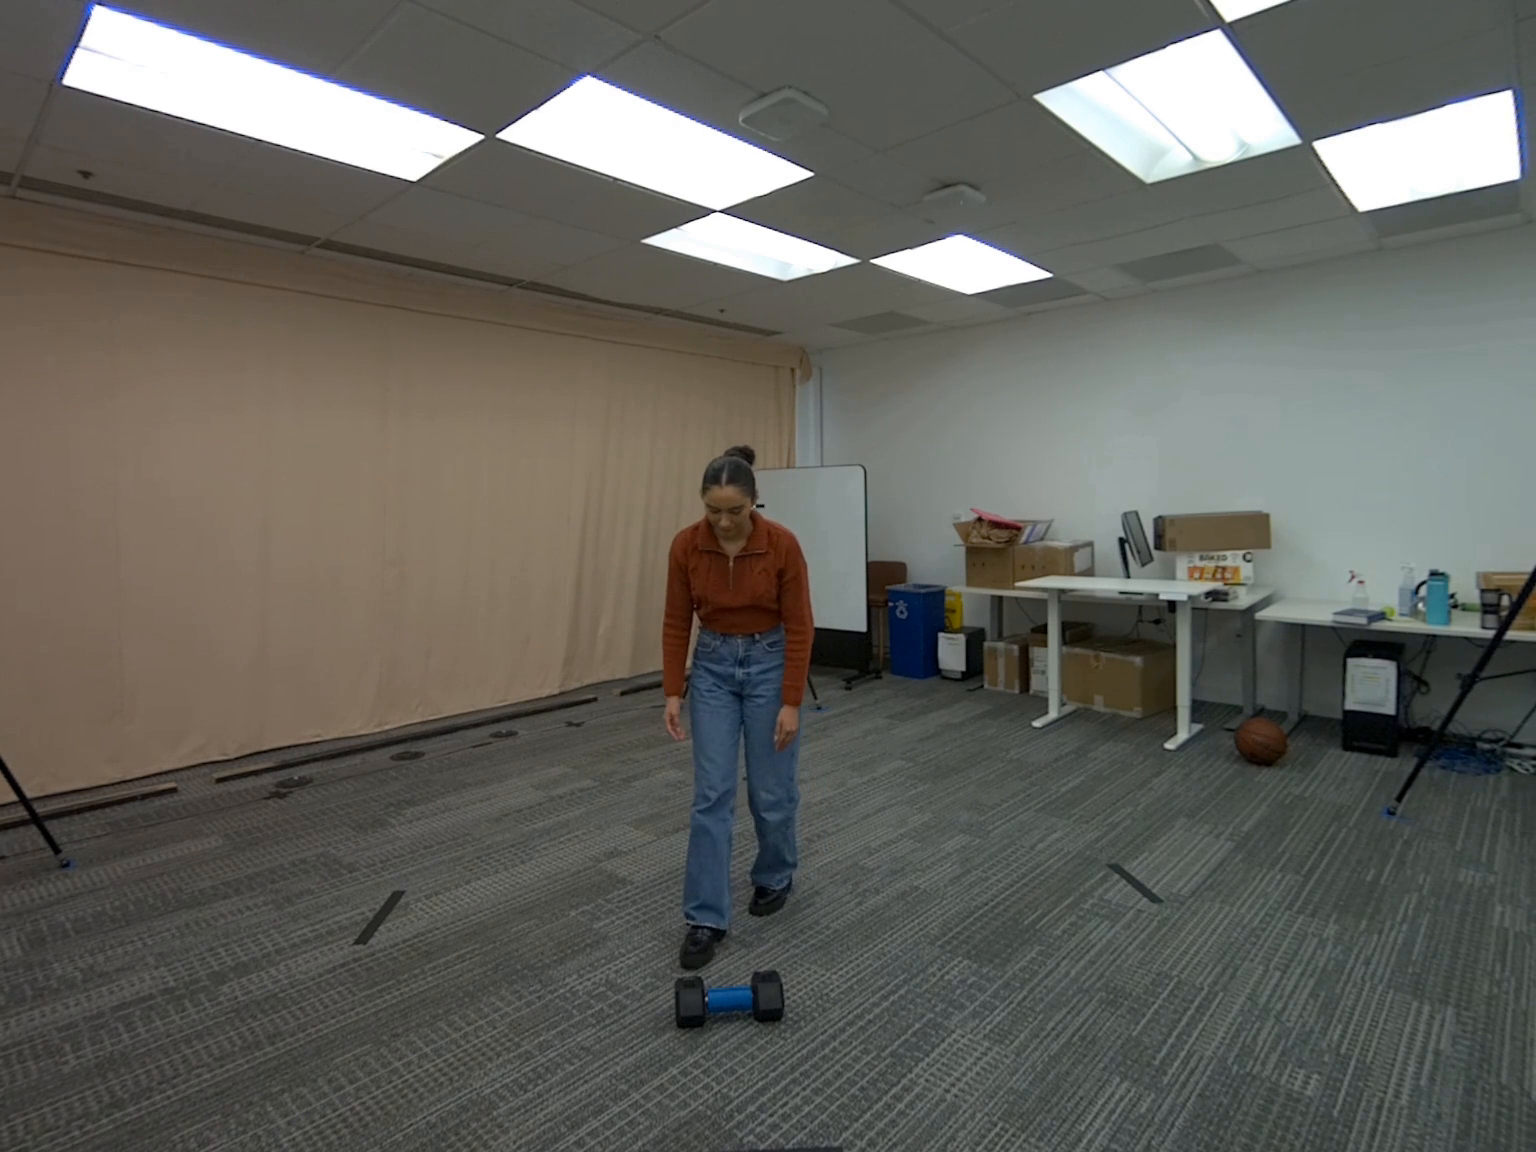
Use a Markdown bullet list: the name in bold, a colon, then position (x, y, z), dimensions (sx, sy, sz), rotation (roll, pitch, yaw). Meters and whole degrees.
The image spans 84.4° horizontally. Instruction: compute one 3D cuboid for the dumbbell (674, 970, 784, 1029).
- **dumbbell**: position (-0.108, 1.143, 2.286), dimensions (0.292, 0.125, 0.107), rotation (-2, -27, -6)
